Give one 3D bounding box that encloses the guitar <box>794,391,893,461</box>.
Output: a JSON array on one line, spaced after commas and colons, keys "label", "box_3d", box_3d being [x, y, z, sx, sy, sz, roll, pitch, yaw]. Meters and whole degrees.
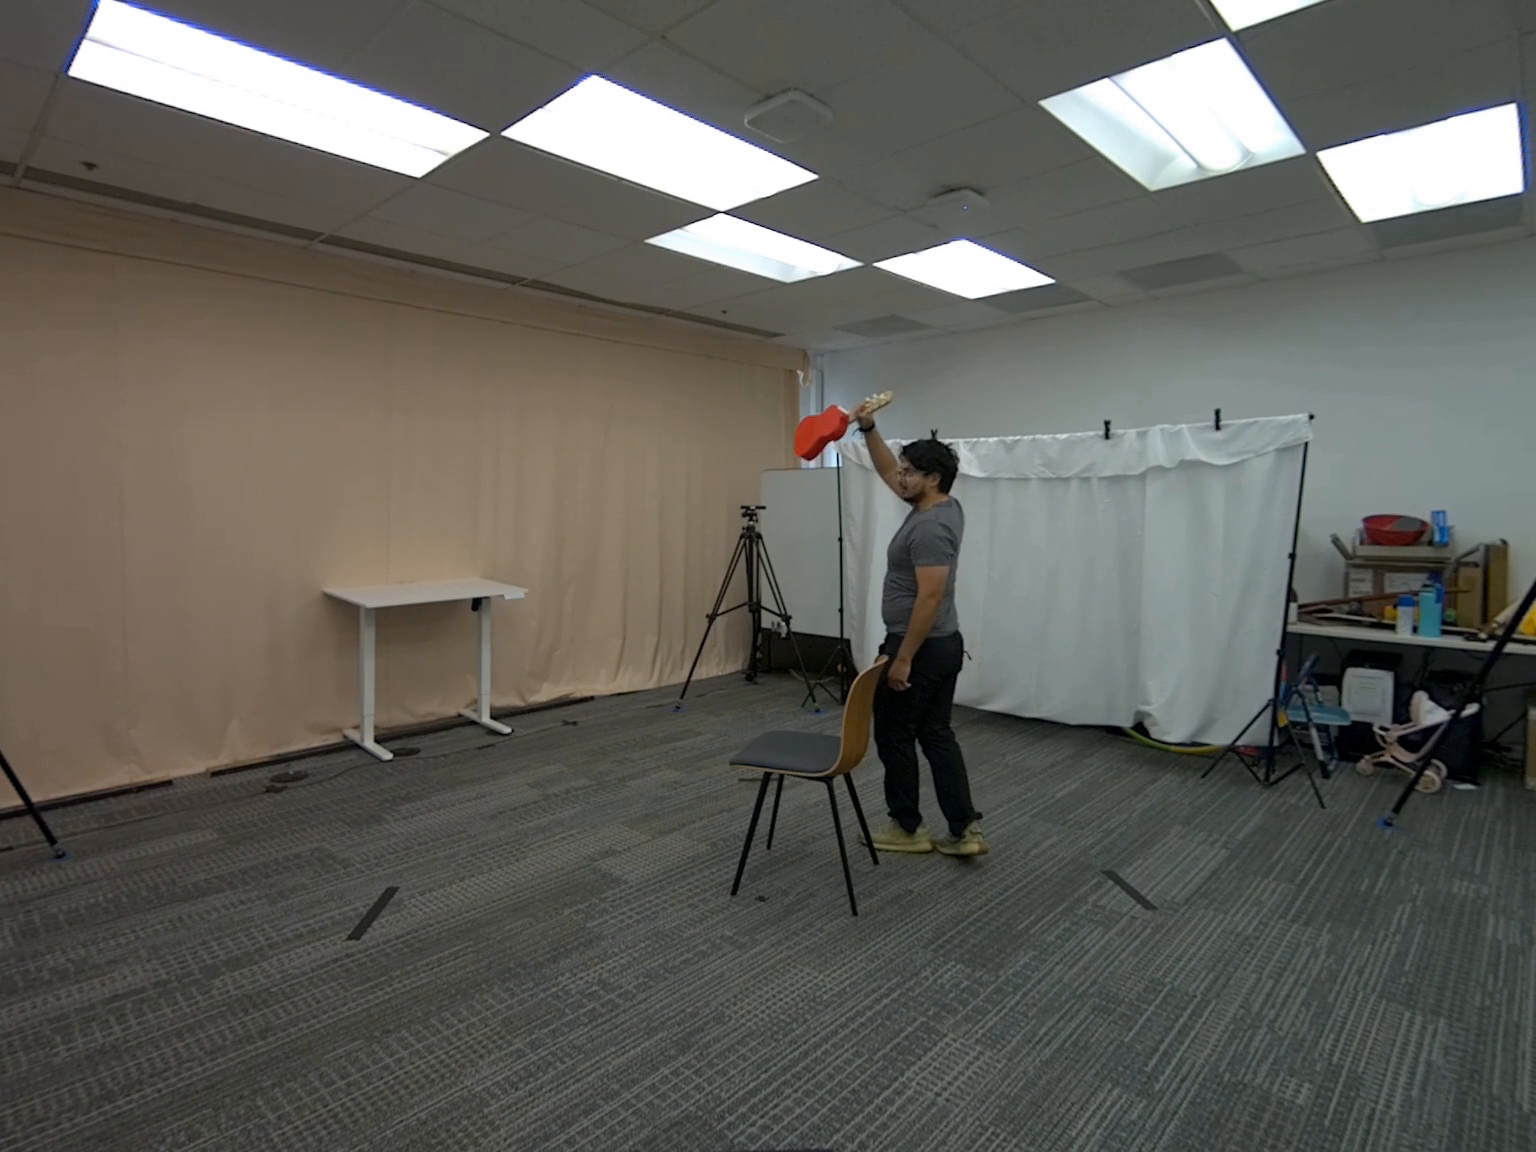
[{"label": "guitar", "box_3d": [0.304, -0.633, 3.440, 0.068, 0.196, 0.506, 25, -41, -33]}]
